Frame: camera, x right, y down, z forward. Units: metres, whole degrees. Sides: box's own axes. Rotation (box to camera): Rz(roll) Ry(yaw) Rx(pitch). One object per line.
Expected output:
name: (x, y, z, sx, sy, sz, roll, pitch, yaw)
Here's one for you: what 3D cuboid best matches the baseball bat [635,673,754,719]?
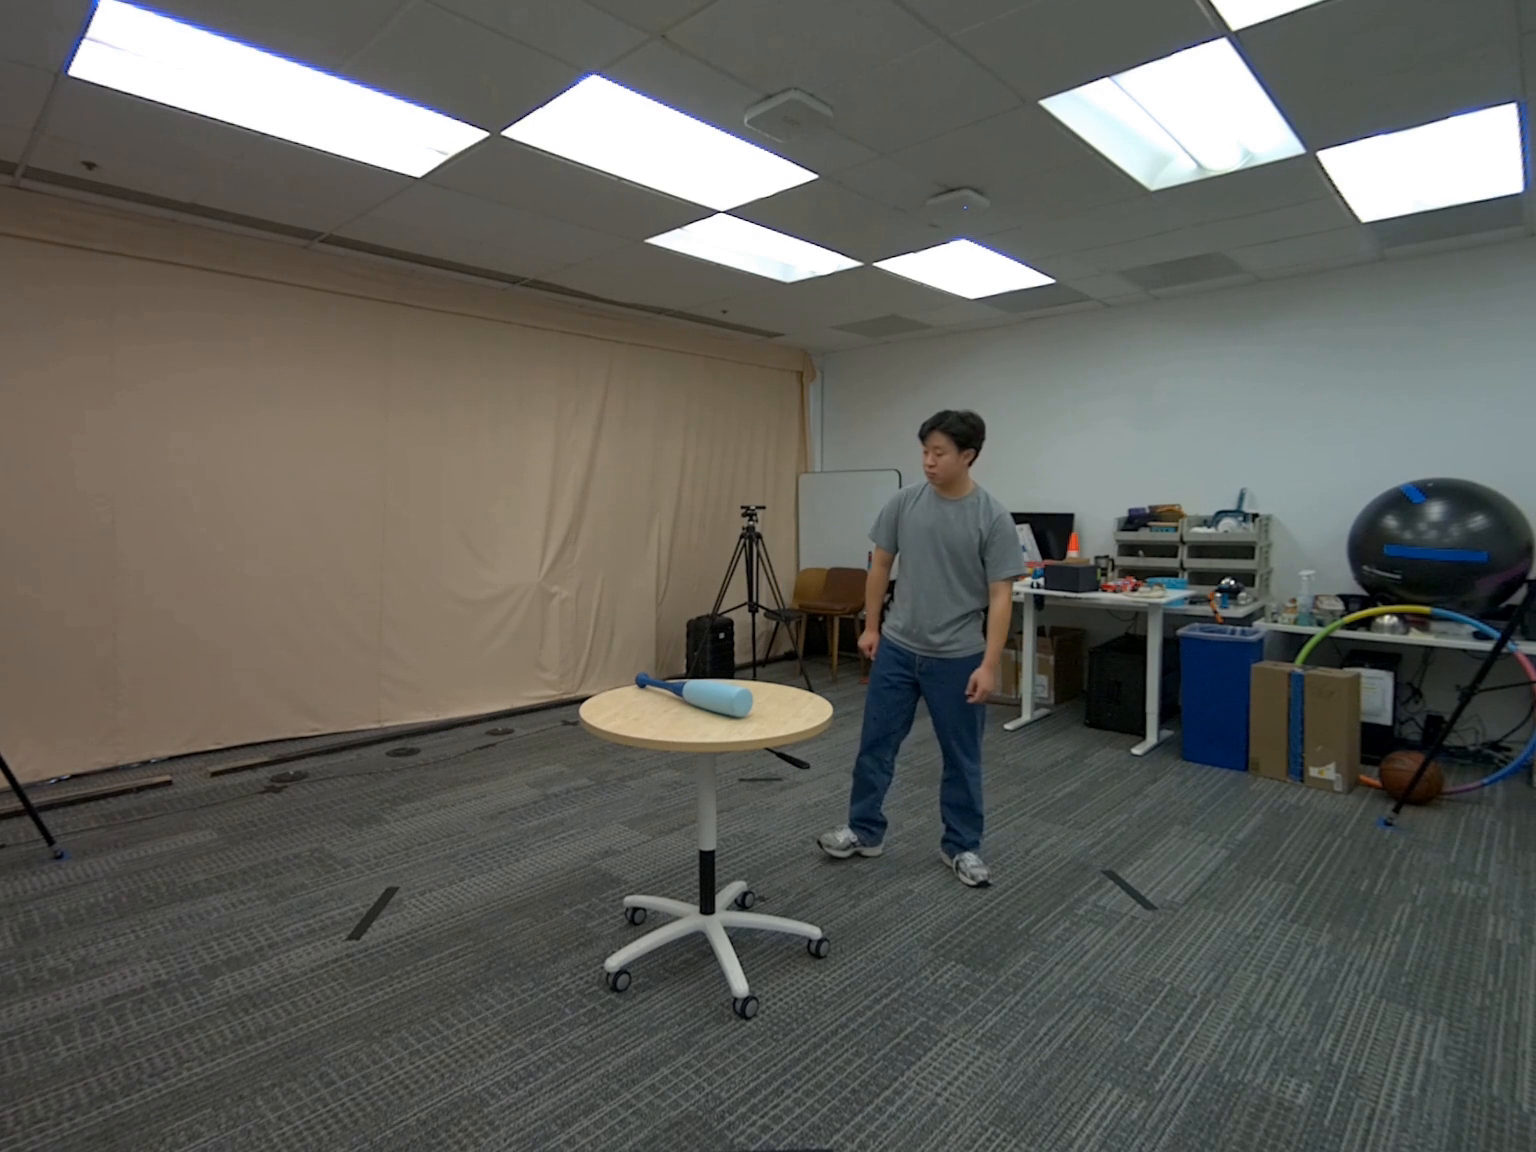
baseball bat: (-0.245, 0.356, 2.609, 0.086, 0.089, 0.560, -3, 3, -40)
